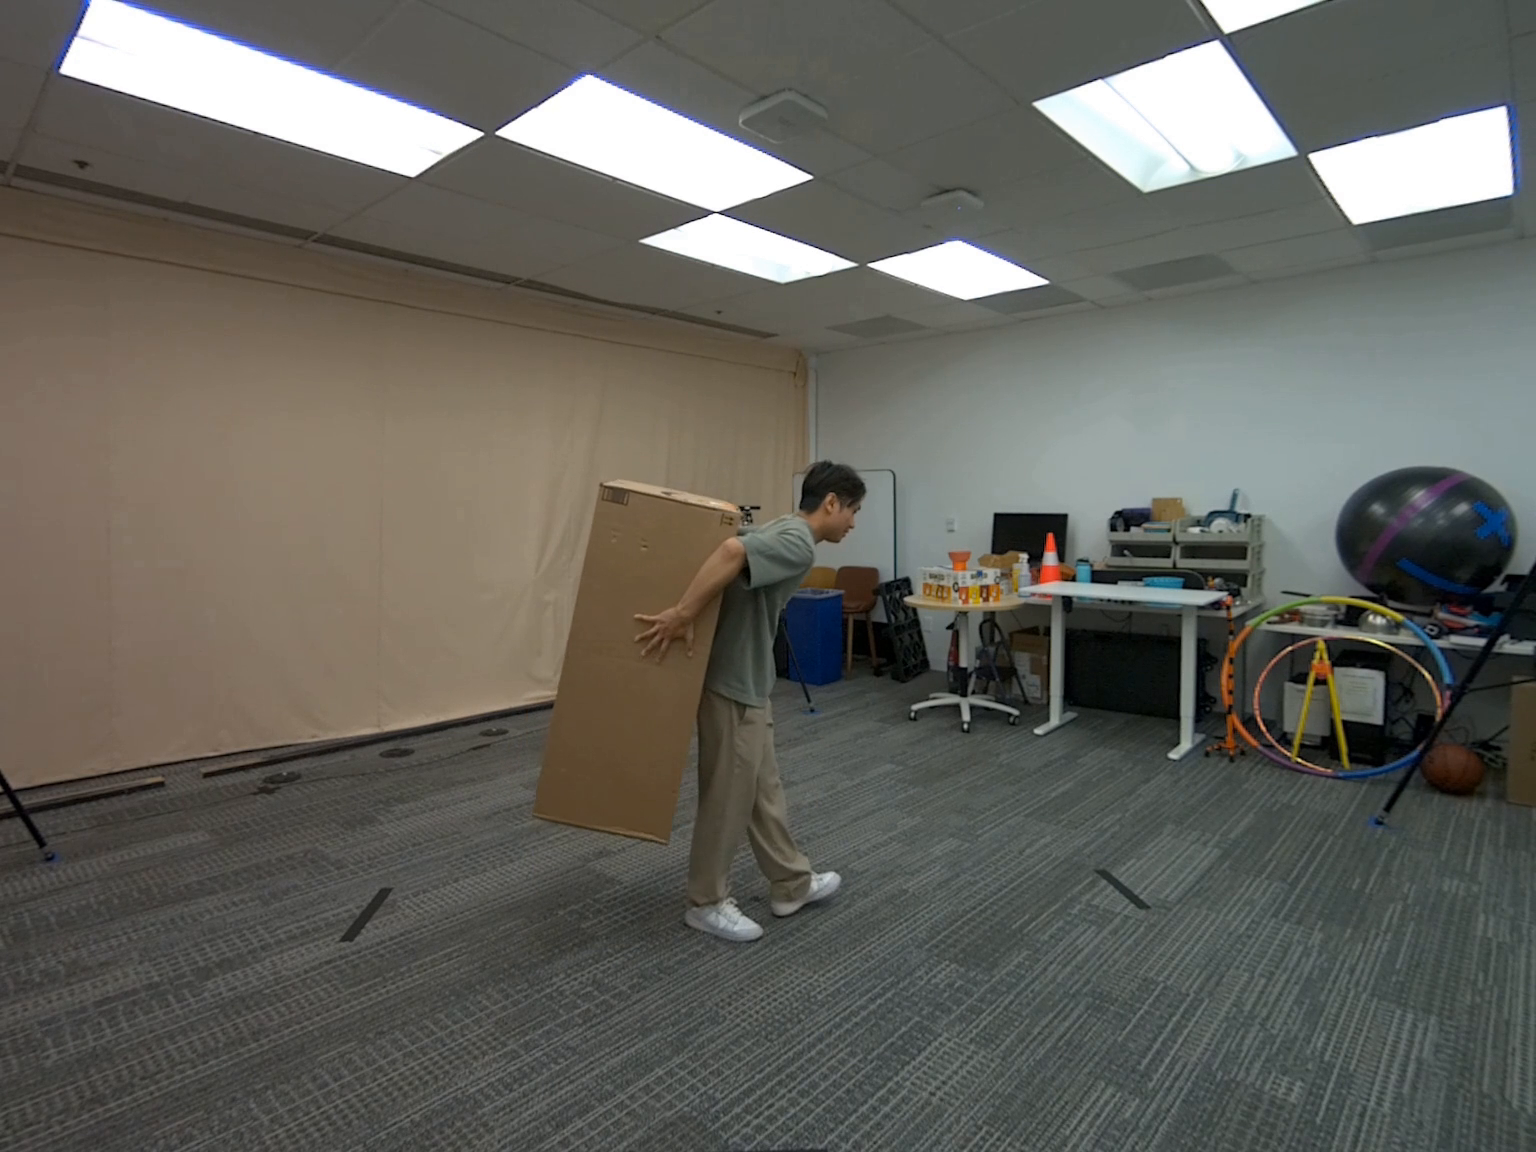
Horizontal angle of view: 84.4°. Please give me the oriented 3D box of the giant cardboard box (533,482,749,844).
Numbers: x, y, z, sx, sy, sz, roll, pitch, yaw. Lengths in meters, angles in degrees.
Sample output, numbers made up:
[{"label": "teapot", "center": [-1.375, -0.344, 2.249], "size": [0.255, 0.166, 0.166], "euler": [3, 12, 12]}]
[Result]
[{"label": "giant cardboard box", "center": [-0.412, 0.234, 2.748], "size": [0.425, 1.024, 0.580], "euler": [12, 5, -4]}]
